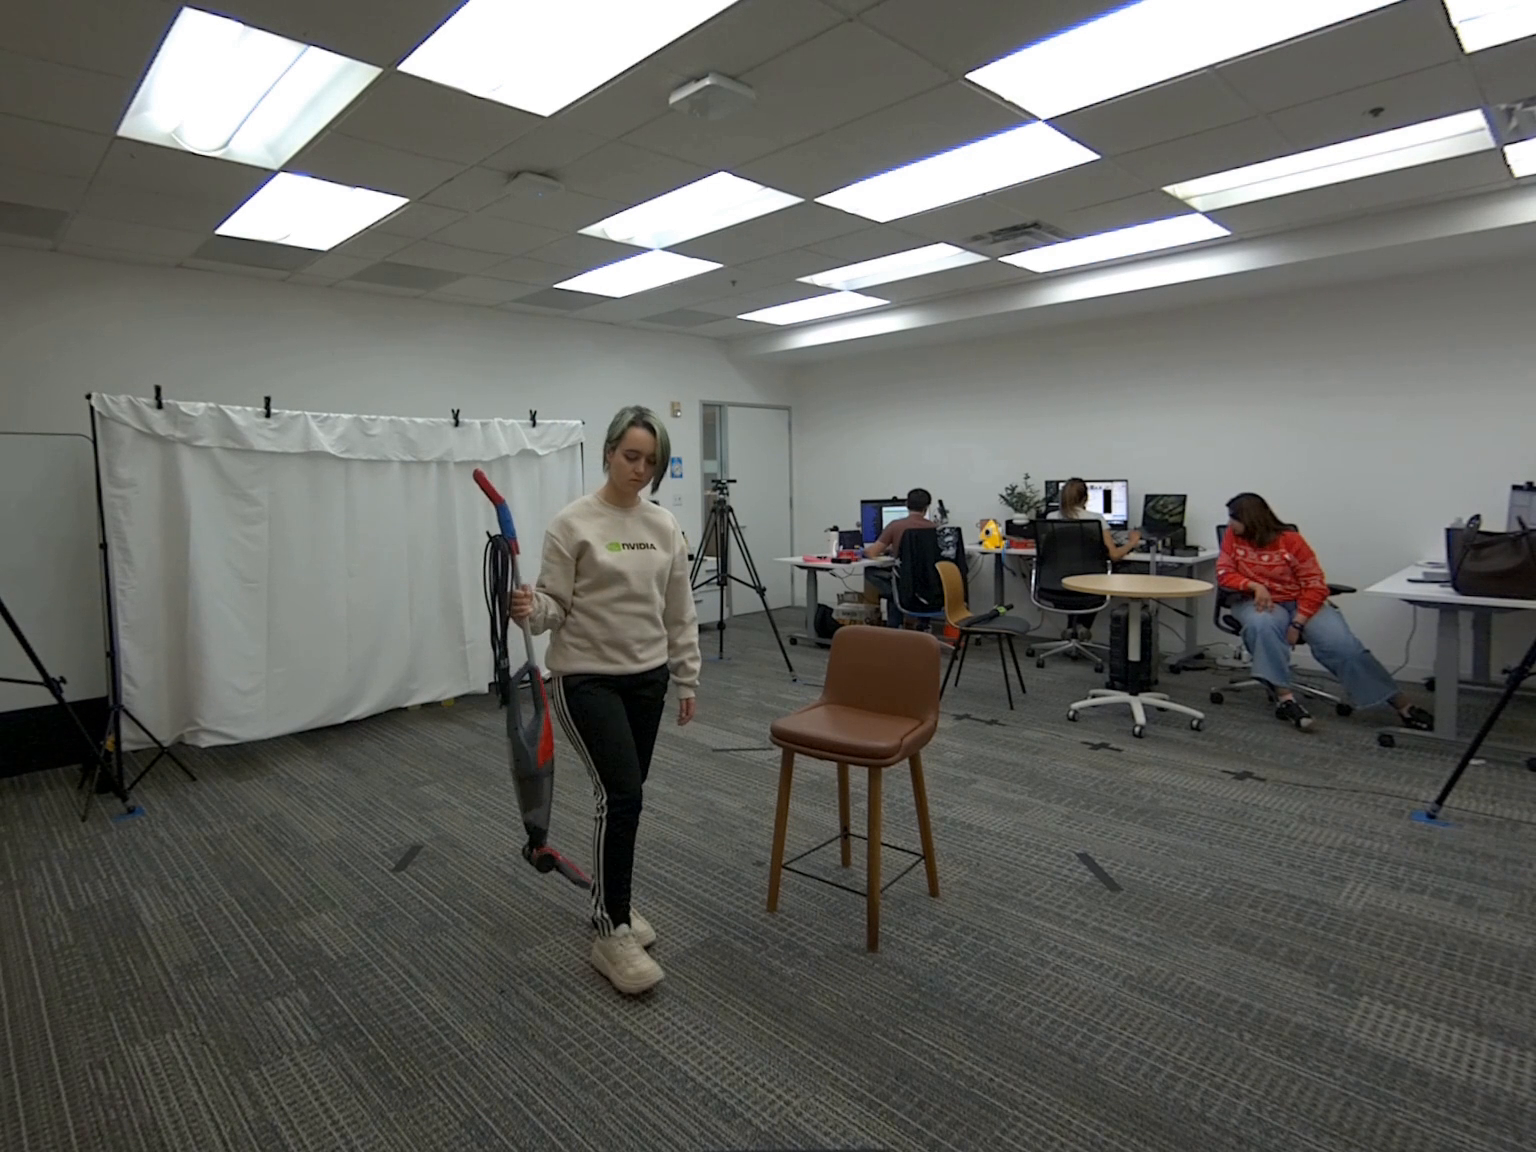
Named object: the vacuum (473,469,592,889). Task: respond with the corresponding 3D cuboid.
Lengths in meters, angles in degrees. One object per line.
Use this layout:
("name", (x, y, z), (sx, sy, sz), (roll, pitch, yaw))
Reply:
("vacuum", (-0.660, 0.254, 2.227), (0.141, 1.047, 0.259), (-12, 3, -37))
